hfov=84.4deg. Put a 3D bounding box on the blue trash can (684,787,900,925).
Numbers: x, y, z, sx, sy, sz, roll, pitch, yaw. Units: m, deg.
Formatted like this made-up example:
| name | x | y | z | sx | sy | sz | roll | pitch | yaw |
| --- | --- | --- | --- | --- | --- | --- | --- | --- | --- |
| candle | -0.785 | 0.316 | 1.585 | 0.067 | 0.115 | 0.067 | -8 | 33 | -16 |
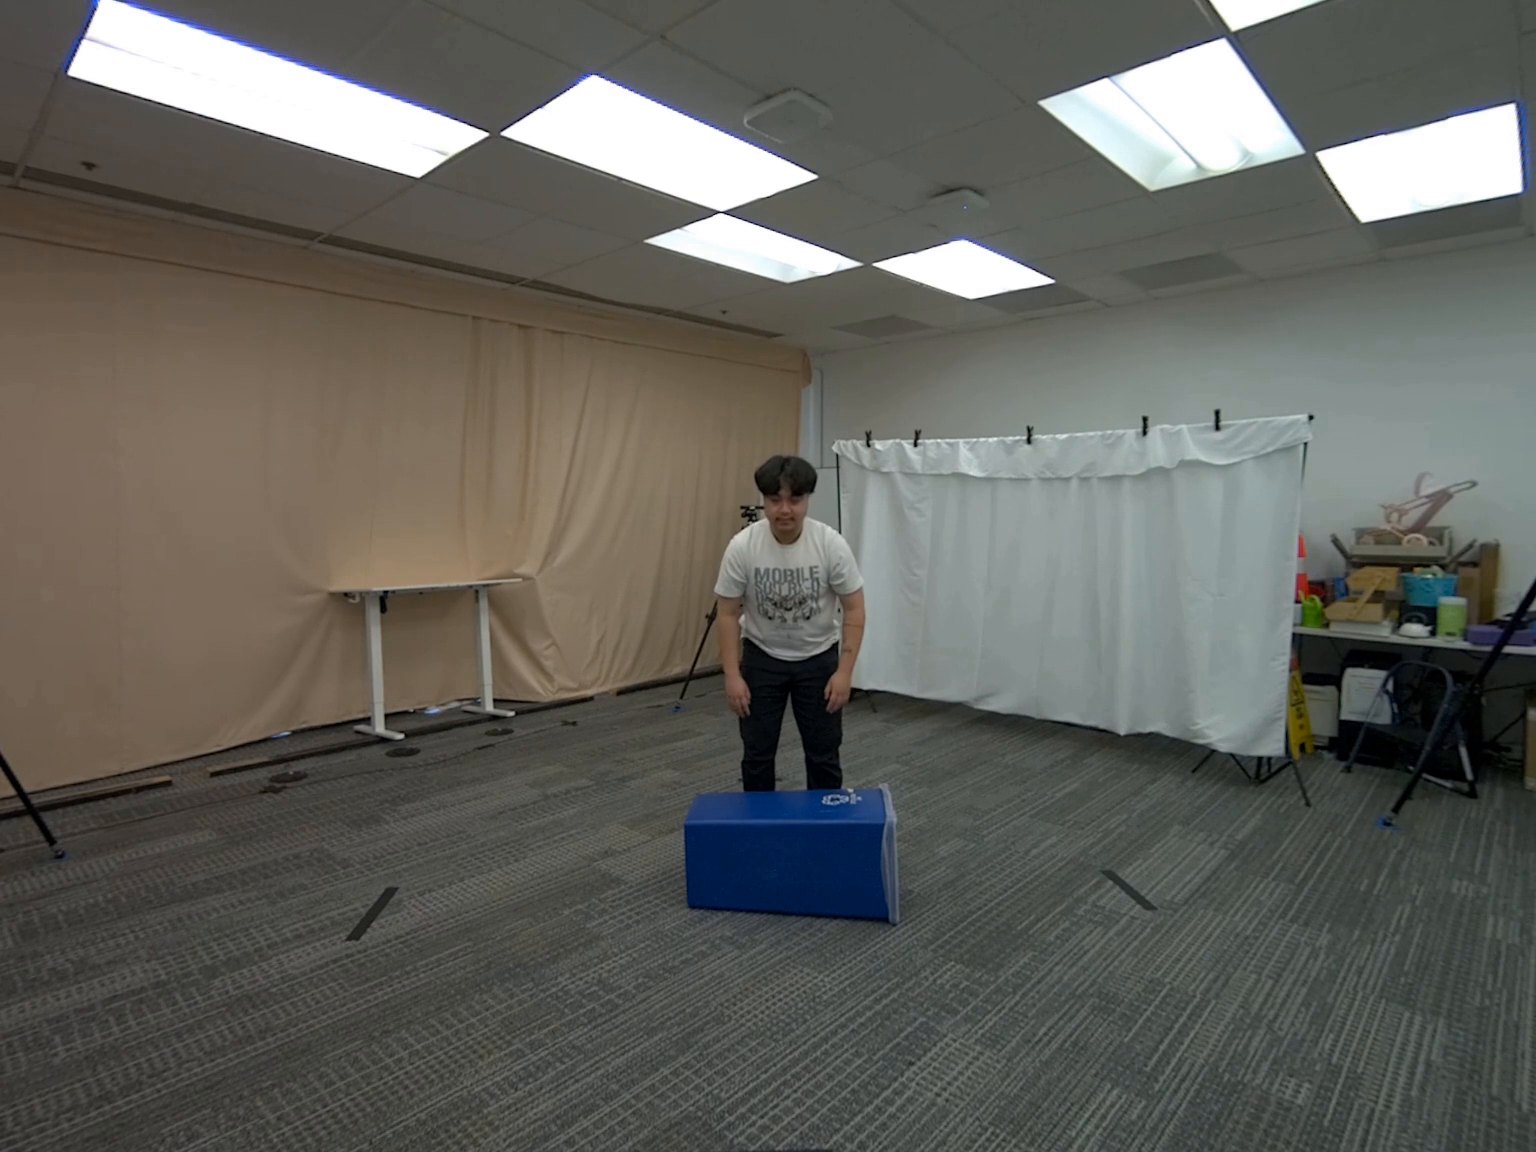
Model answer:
| name | x | y | z | sx | sy | sz | roll | pitch | yaw |
| --- | --- | --- | --- | --- | --- | --- | --- | --- | --- |
| blue trash can | 0.089 | 0.977 | 2.991 | 0.718 | 0.377 | 0.372 | -3 | 4 | 6 |
